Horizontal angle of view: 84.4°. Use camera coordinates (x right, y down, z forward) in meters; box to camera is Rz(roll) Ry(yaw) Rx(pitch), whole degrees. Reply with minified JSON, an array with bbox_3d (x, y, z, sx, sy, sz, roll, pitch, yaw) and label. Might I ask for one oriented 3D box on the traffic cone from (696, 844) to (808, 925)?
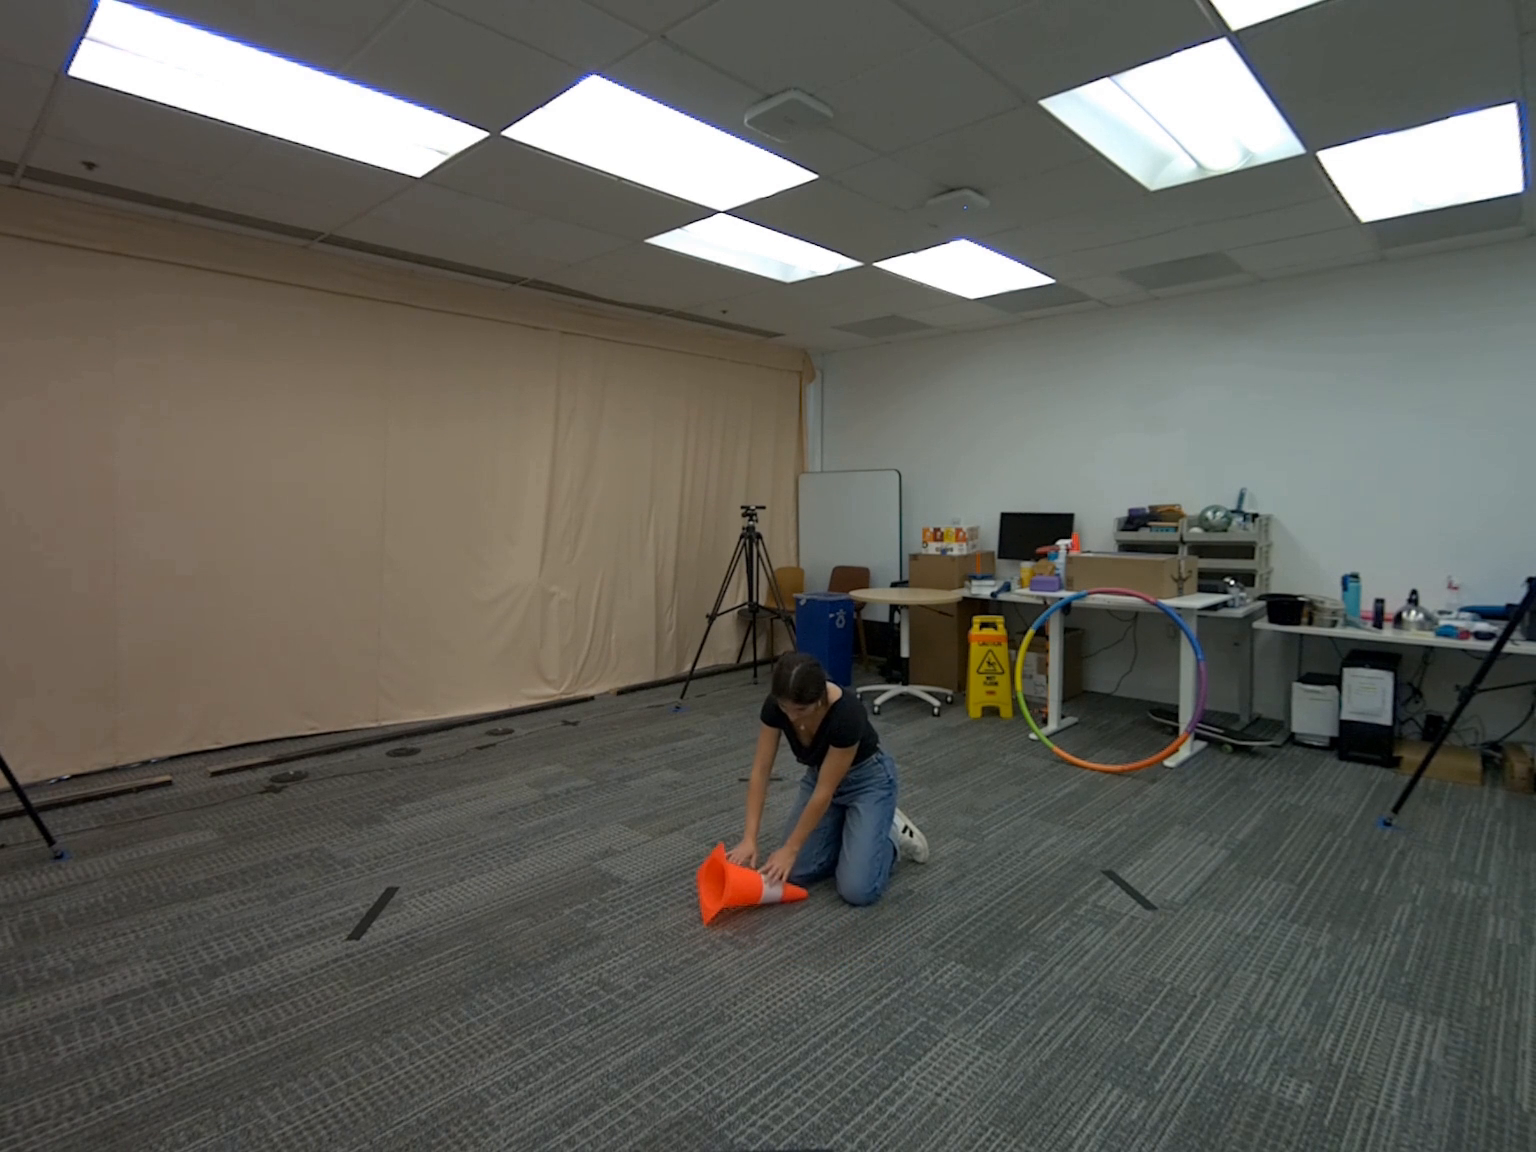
[{"bbox_3d":[-0.017,1.087,2.903,0.373,0.205,0.209,18,33,-25],"label":"traffic cone"}]
